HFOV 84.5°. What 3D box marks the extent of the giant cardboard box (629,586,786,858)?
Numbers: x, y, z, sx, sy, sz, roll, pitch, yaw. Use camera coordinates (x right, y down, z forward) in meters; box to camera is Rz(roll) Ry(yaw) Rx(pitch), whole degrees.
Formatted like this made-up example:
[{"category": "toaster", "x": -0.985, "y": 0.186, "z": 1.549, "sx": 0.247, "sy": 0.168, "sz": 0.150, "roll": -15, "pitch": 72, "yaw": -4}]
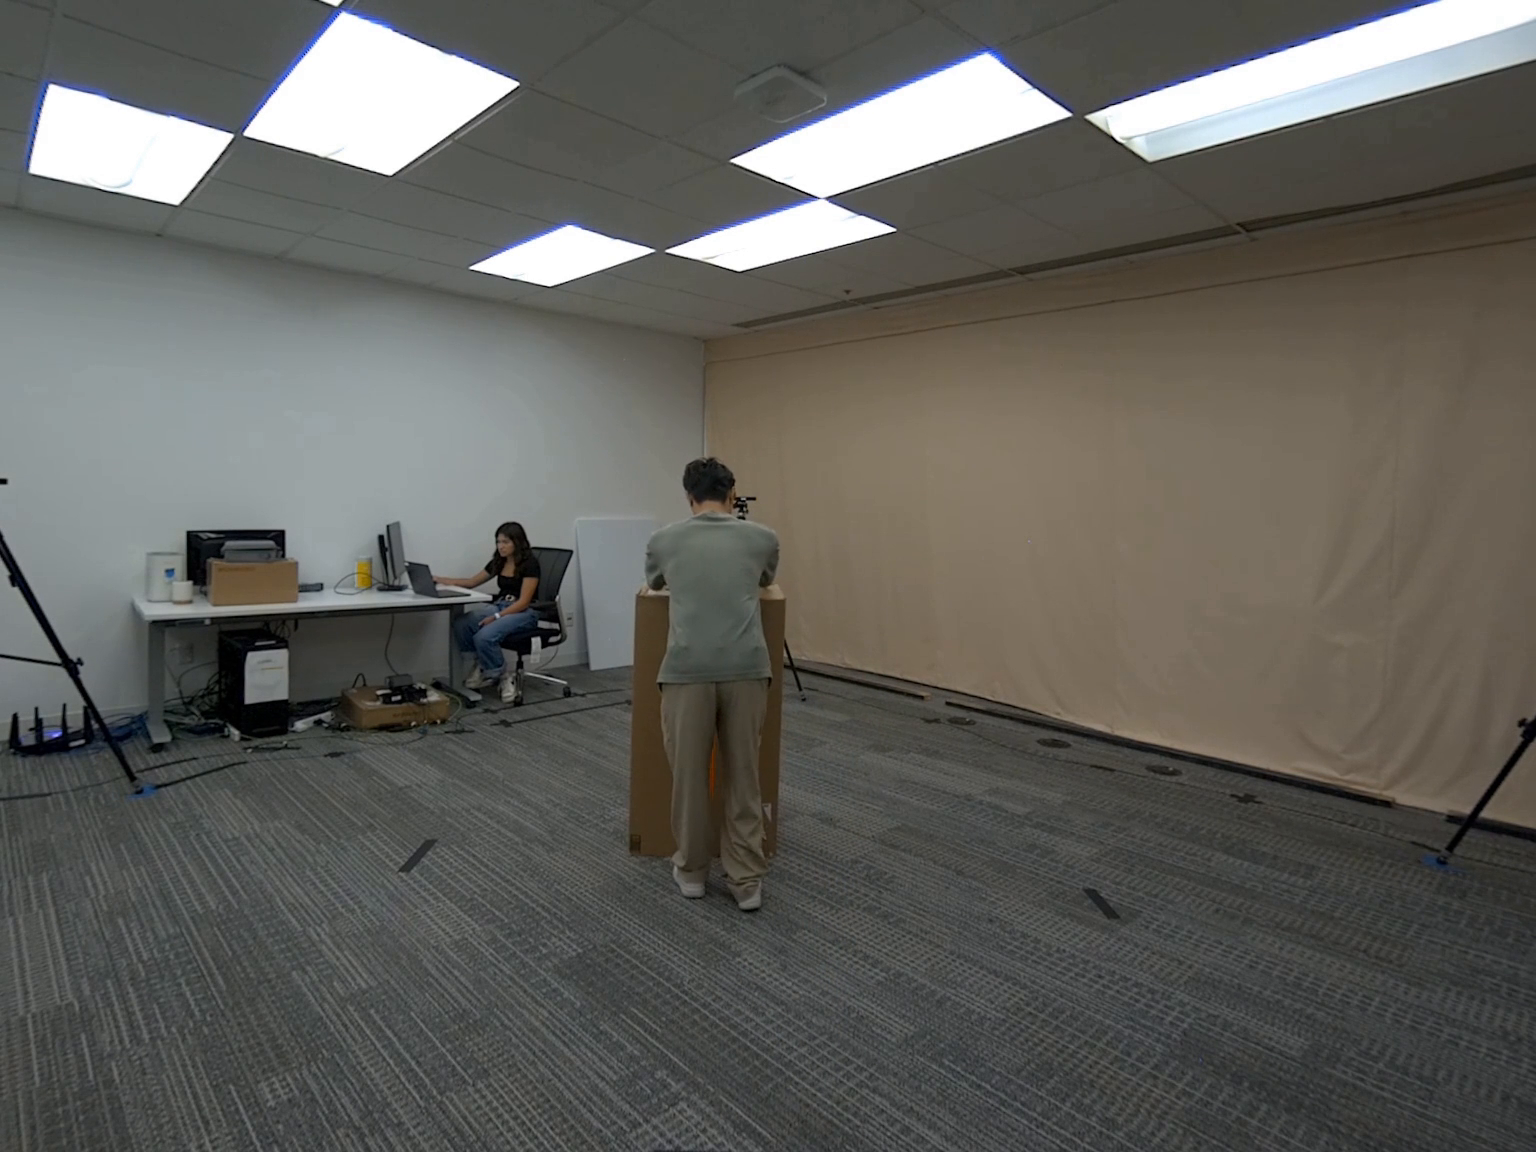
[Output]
[{"category": "giant cardboard box", "x": -0.260, "y": 0.561, "z": 3.426, "sx": 0.576, "sy": 1.022, "sz": 0.429, "roll": 2, "pitch": 5, "yaw": -4}]
